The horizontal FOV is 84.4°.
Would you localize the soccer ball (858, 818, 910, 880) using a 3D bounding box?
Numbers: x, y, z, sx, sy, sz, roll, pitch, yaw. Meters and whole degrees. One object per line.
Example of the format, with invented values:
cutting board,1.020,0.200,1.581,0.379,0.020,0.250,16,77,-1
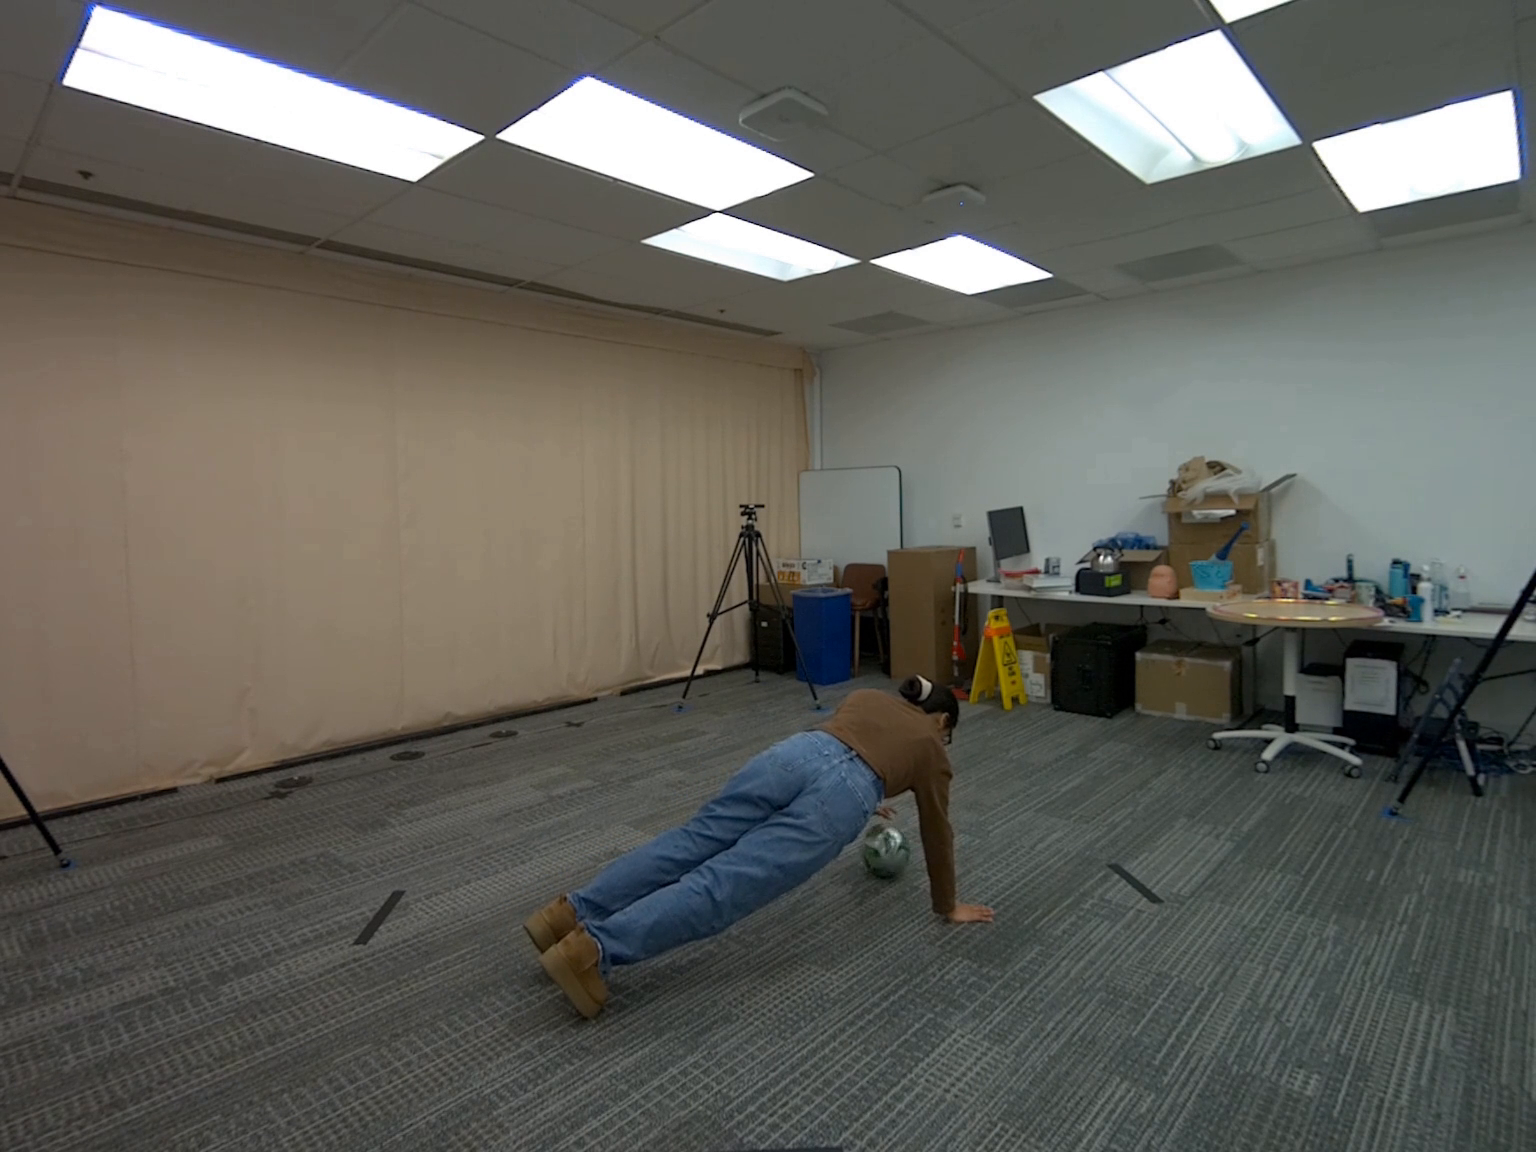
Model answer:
soccer ball,0.442,1.023,3.143,0.187,0.187,0.188,-1,4,-2
